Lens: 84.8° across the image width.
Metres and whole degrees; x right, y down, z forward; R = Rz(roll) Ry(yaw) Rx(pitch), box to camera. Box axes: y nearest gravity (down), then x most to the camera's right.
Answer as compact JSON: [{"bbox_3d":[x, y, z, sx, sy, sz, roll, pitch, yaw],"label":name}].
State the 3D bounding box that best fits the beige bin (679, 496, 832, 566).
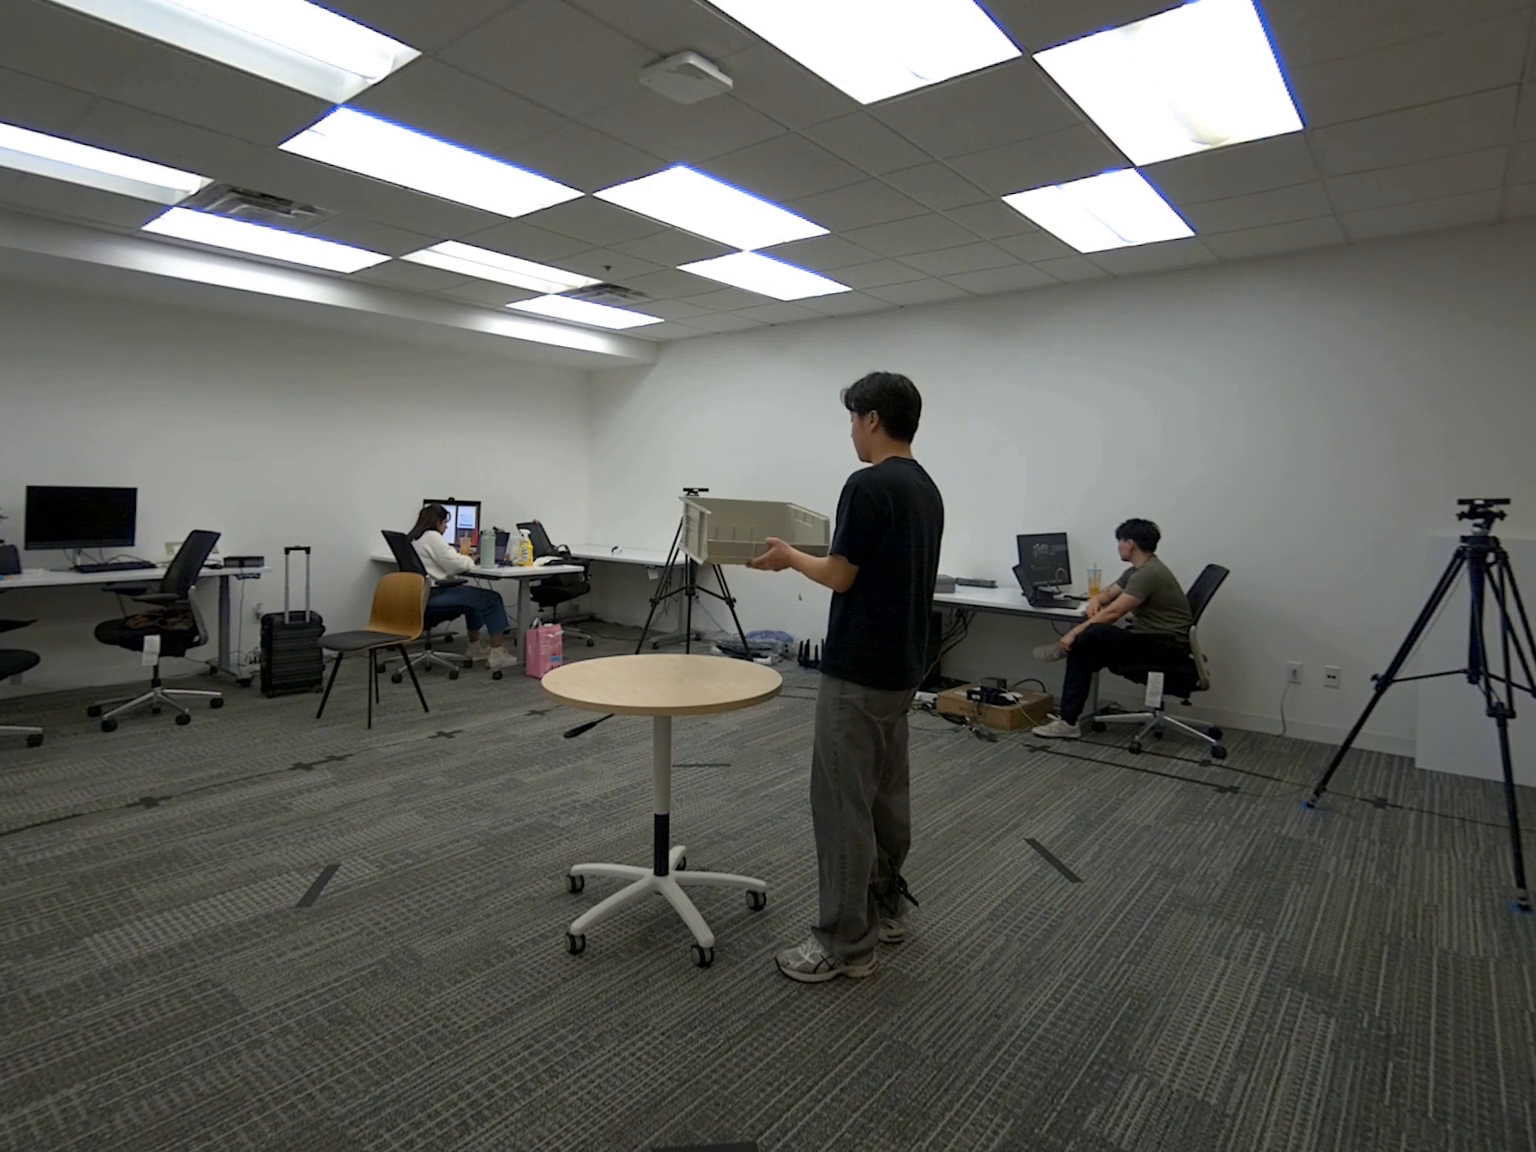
[{"bbox_3d":[-0.066,-0.145,2.858,0.414,0.187,0.388,0,10,-19],"label":"beige bin"}]
